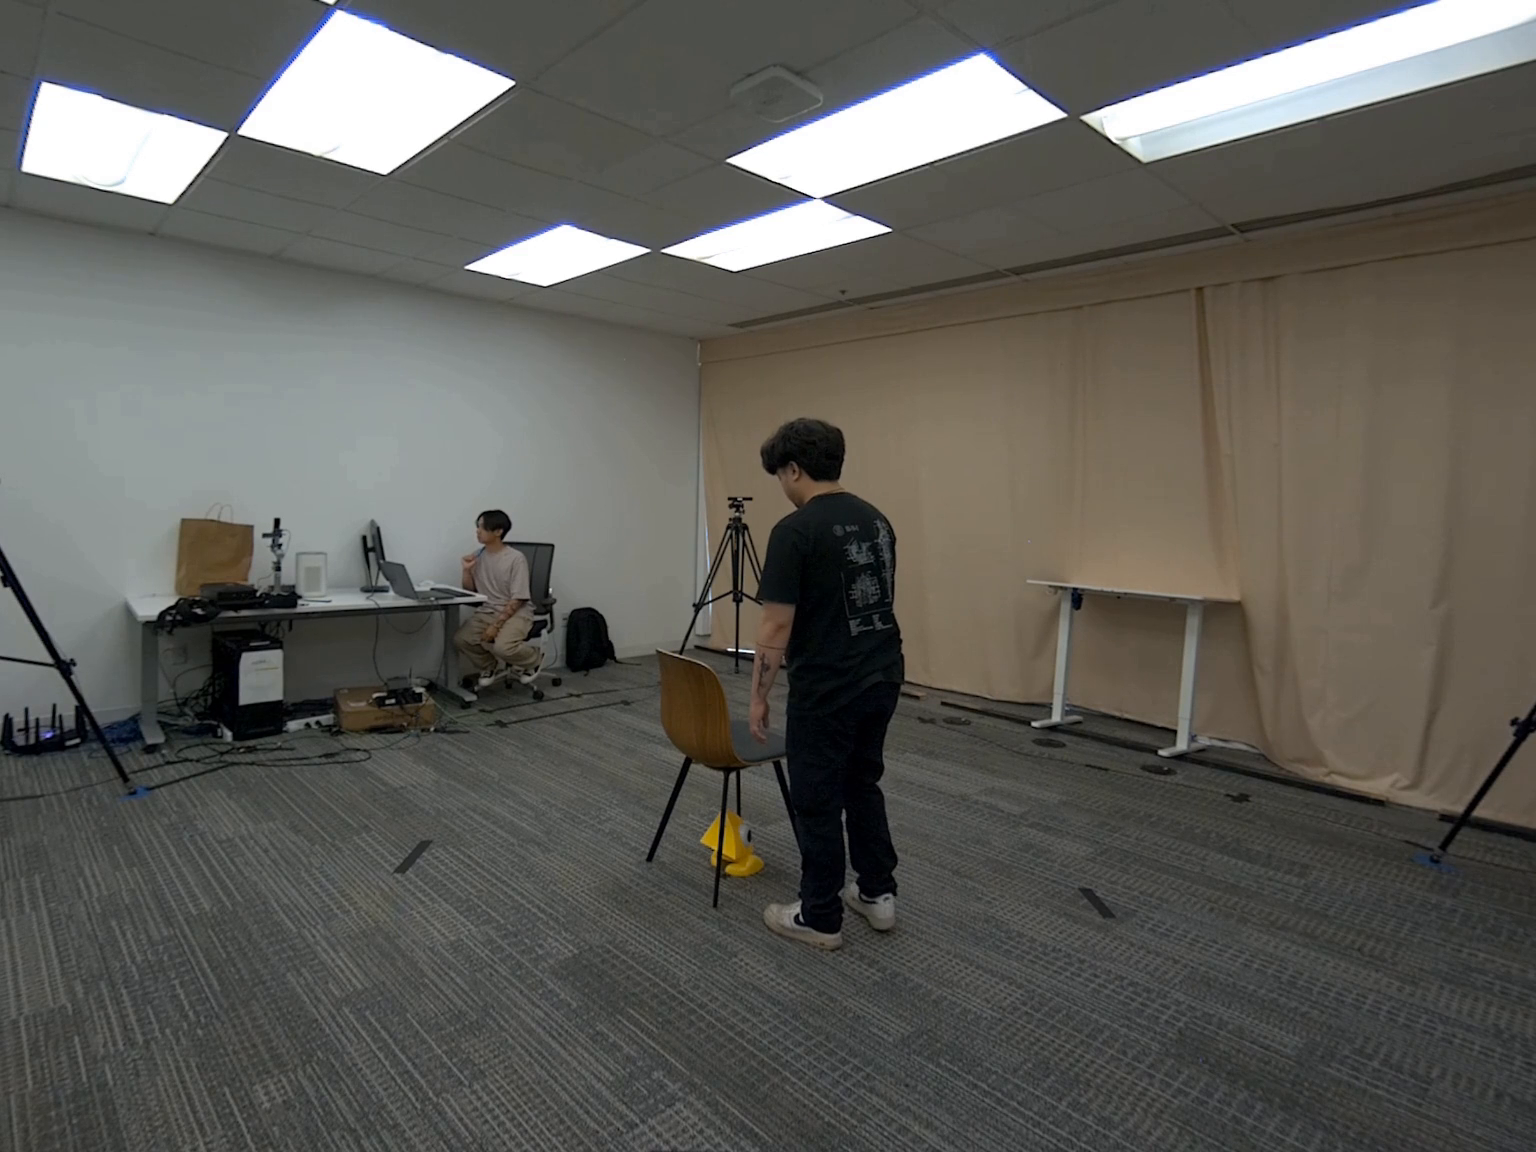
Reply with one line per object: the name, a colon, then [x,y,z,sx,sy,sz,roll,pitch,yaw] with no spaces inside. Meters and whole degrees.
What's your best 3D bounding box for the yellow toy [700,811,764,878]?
yellow toy: [-0.131,0.988,3.198,0.188,0.230,0.210,-1,5,-42]
